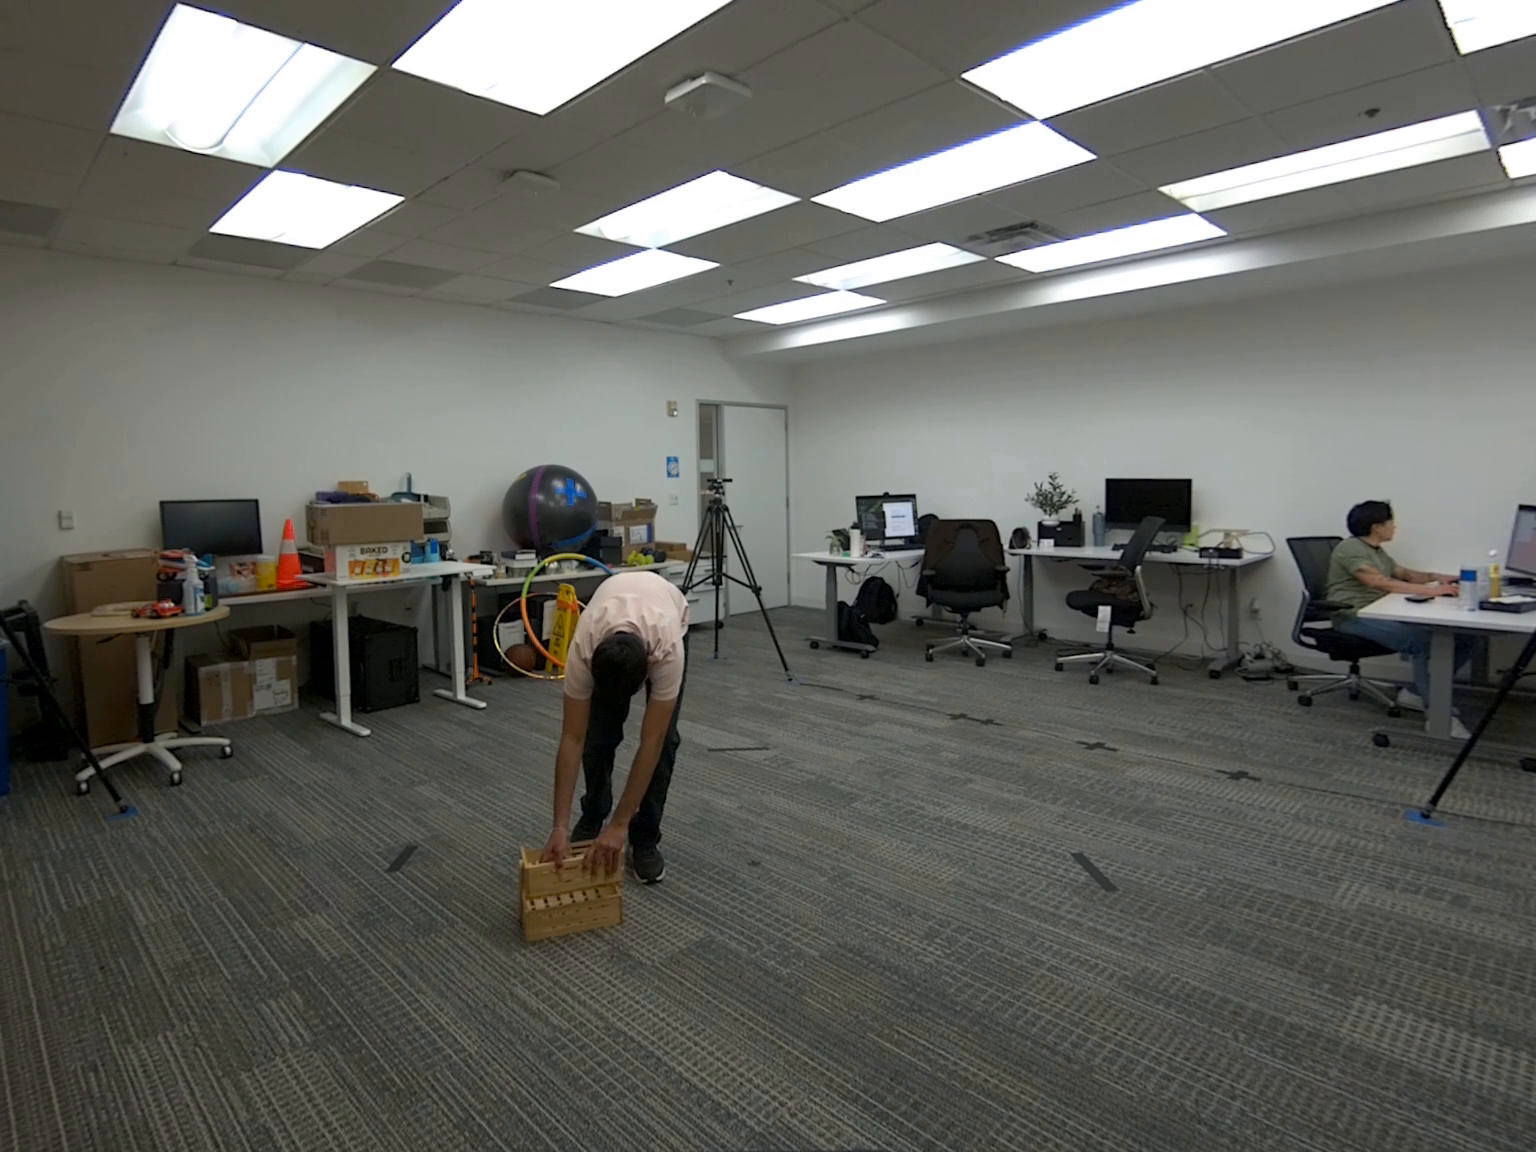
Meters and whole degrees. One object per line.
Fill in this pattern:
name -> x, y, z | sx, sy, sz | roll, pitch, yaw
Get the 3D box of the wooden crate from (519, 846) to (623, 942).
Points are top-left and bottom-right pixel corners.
wooden crate -> -0.636, 0.964, 2.744 | 0.318, 0.272, 0.309 | -4, 7, -22
